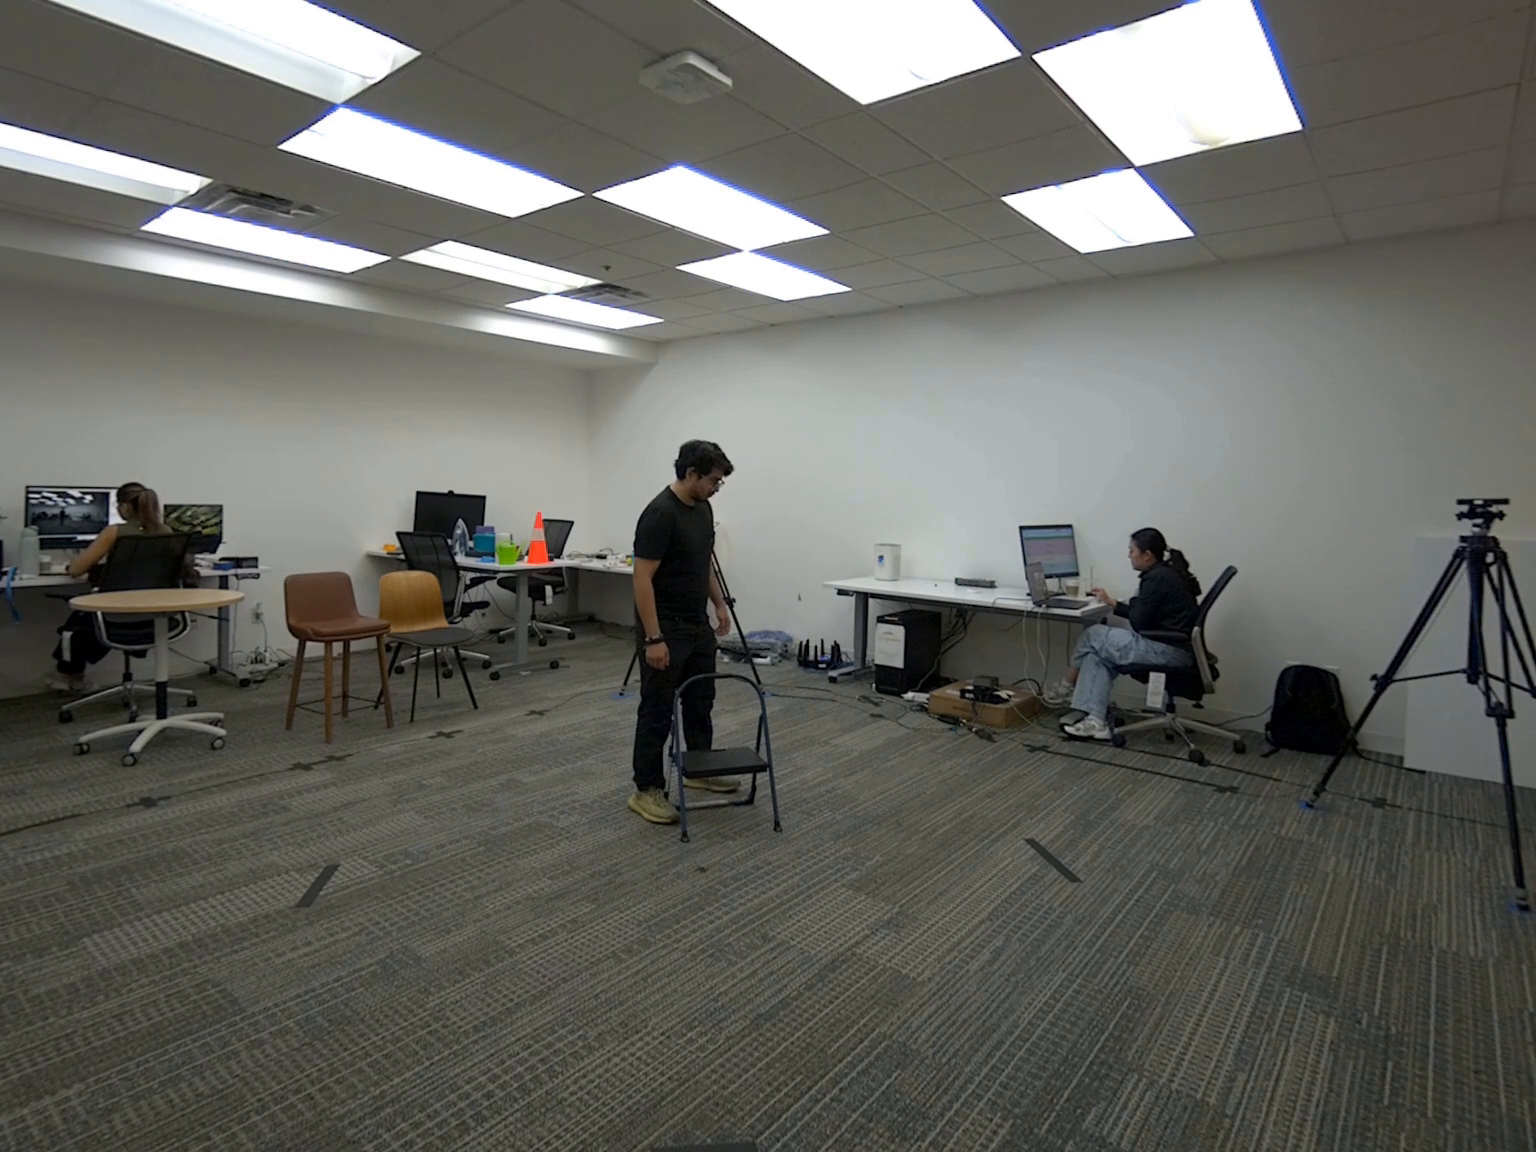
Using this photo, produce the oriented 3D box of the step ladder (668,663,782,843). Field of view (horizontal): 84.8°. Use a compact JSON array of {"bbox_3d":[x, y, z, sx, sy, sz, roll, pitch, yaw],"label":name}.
[{"bbox_3d":[-0.200,0.723,3.558,0.422,0.604,0.357,0,3,-20],"label":"step ladder"}]
